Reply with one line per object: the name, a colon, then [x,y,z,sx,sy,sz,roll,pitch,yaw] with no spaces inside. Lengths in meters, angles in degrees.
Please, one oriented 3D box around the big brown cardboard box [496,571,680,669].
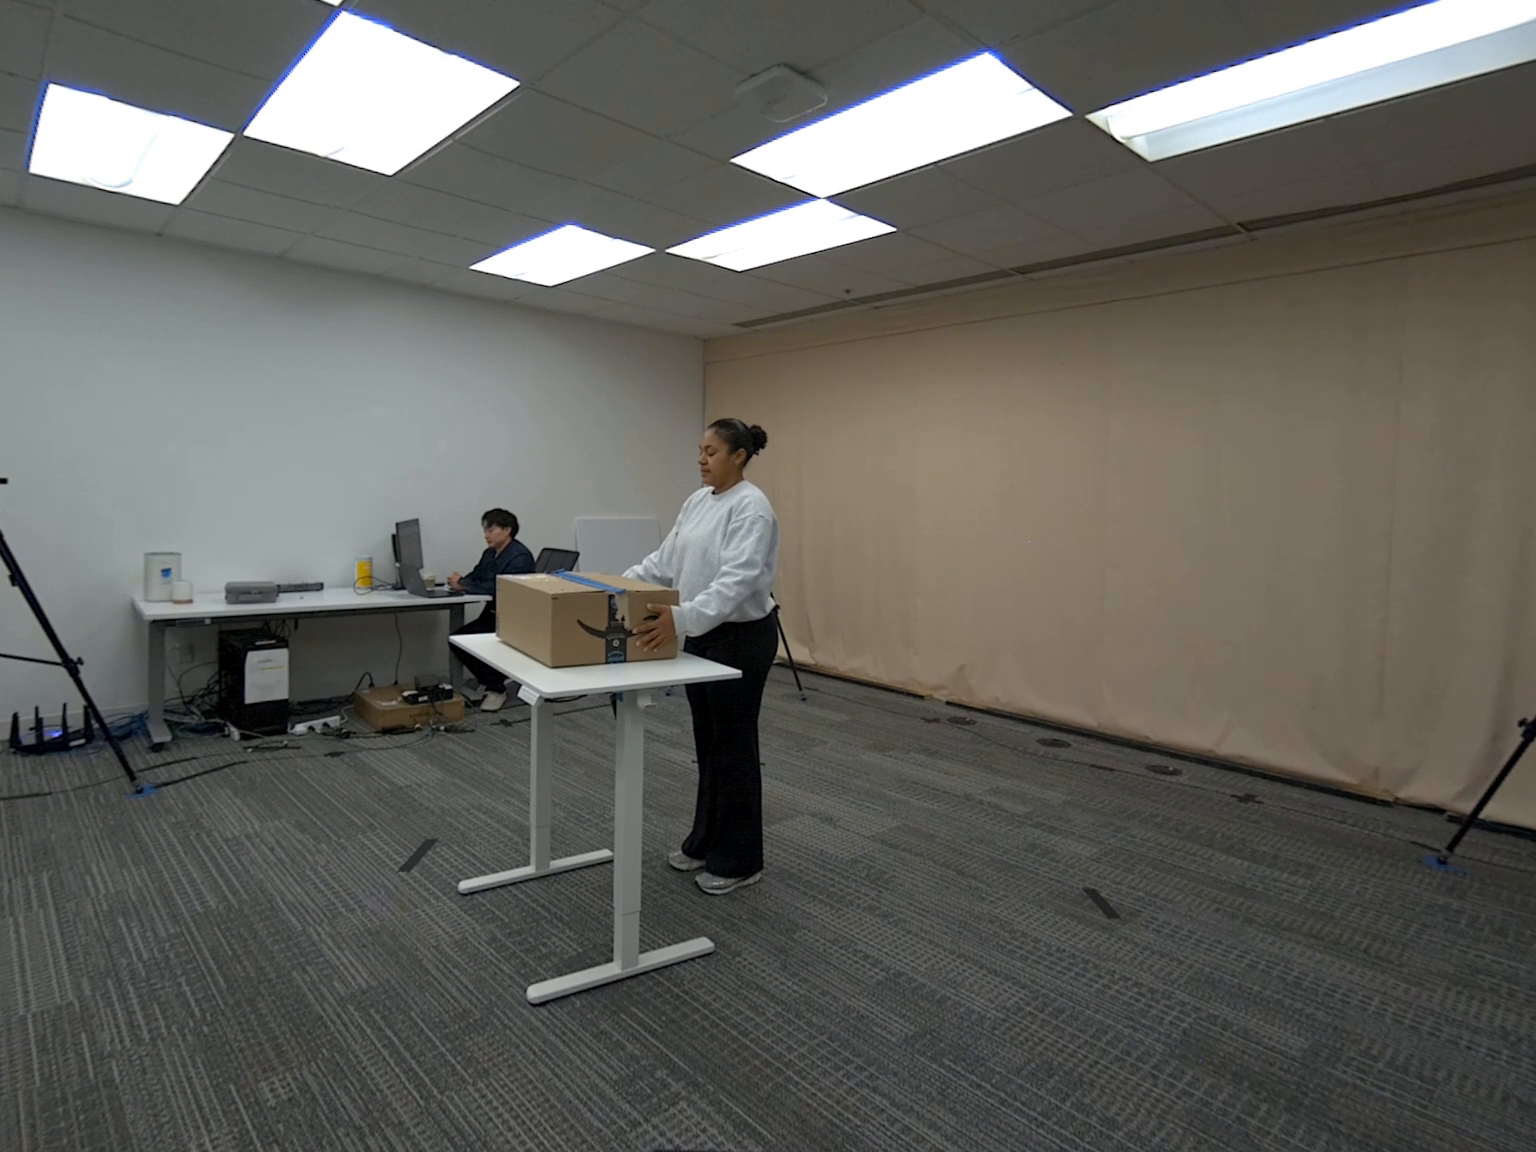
big brown cardboard box: [-0.615,0.129,2.774,0.409,0.232,0.604,-1,7,-33]
